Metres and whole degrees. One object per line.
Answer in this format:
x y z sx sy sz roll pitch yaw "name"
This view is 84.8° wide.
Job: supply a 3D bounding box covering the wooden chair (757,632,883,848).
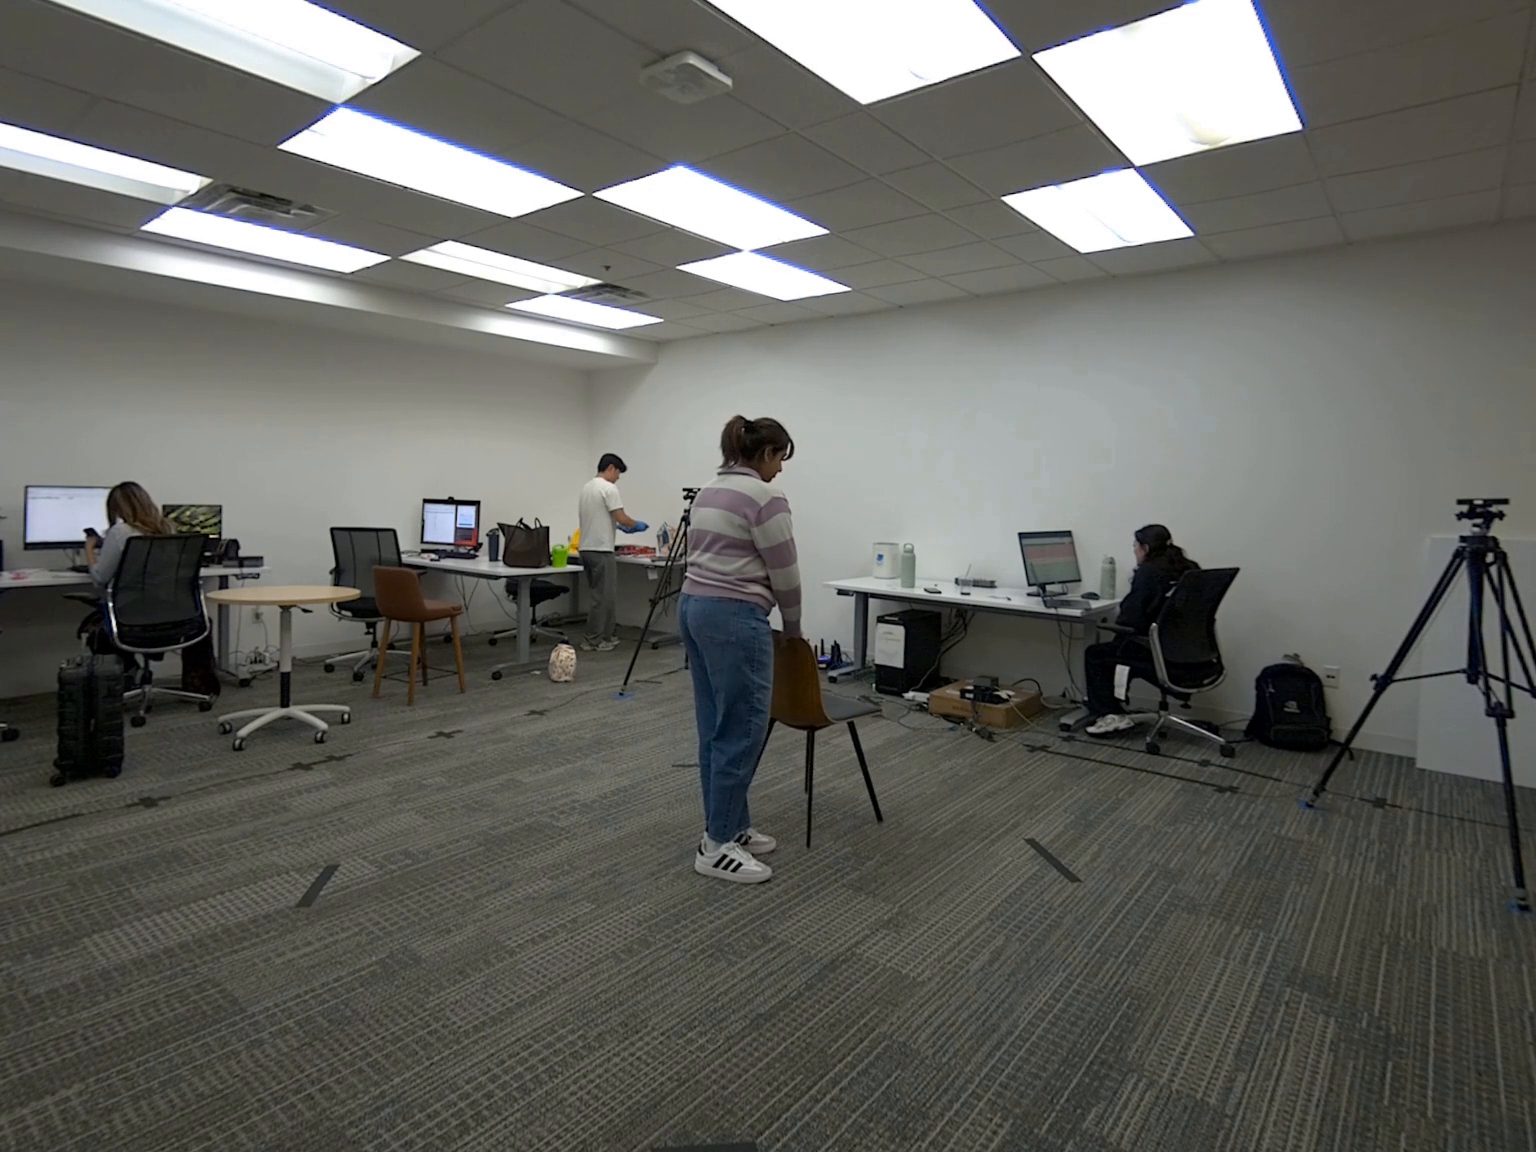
0.173 0.600 3.601 0.509 0.872 0.494 -8 8 -41 "wooden chair"
